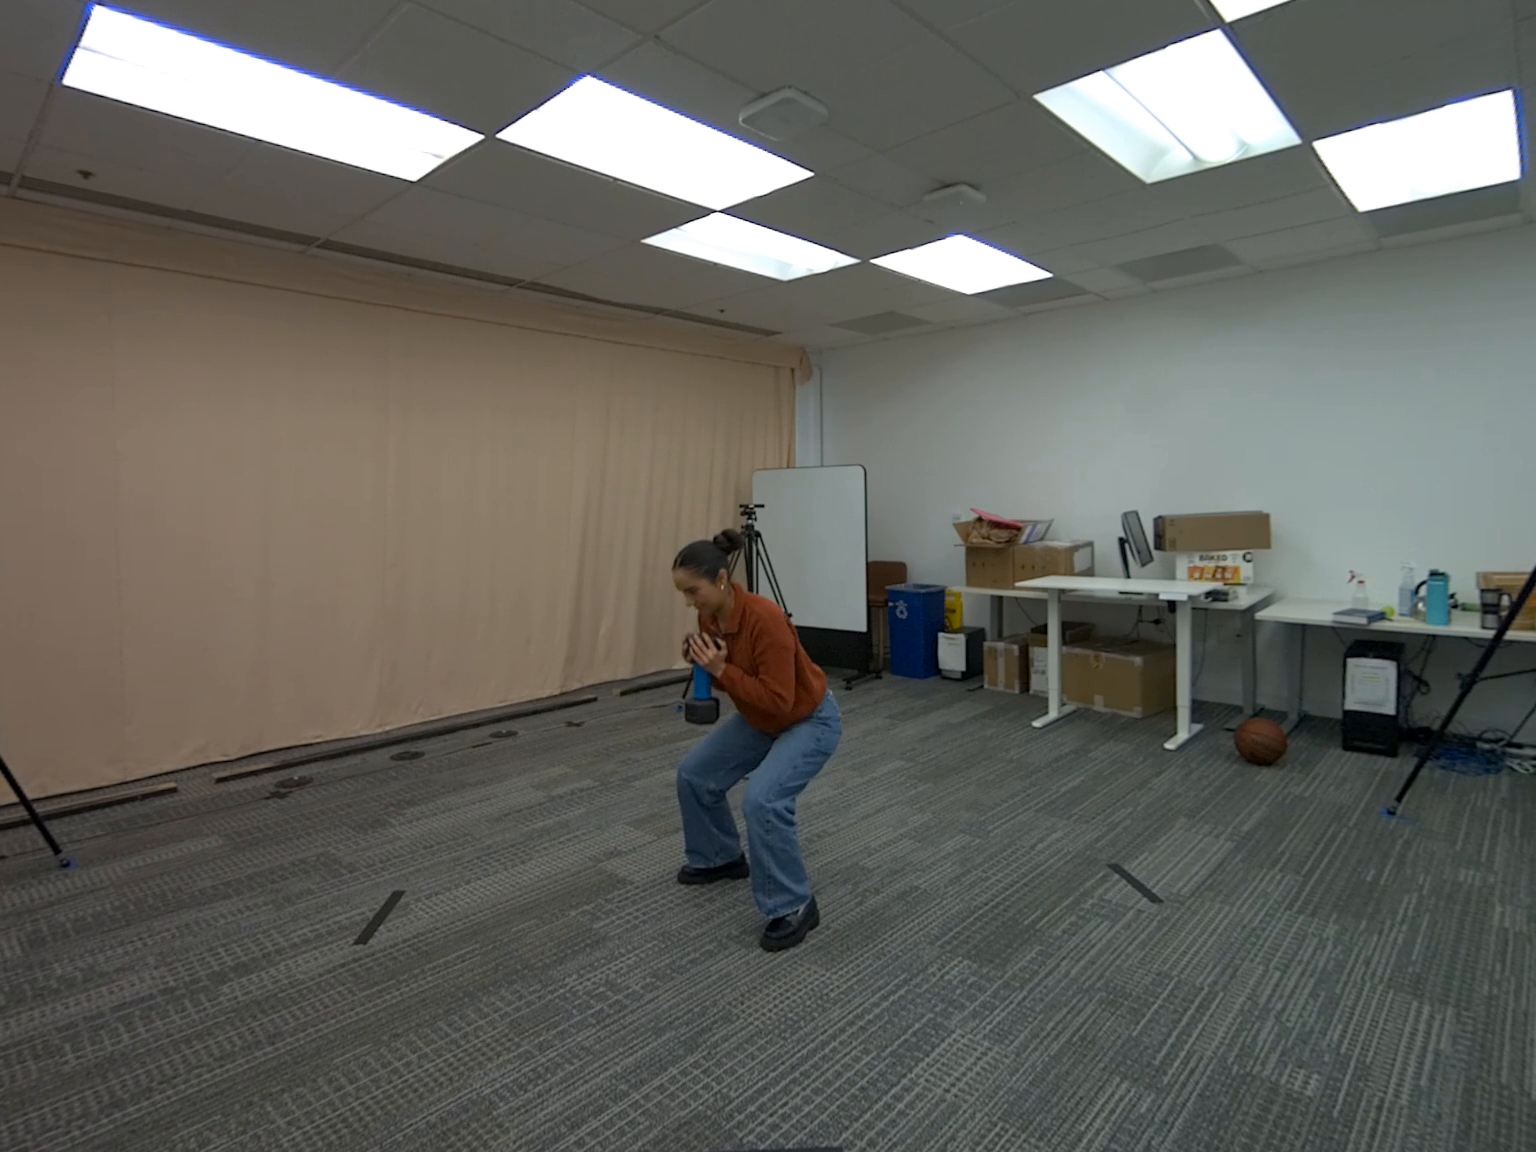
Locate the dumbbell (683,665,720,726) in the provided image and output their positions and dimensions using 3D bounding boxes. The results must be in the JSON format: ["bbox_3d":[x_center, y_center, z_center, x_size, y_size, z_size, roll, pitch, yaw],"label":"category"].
[{"bbox_3d":[-0.214,0.342,2.817,0.127,0.294,0.105,-2,-5,42],"label":"dumbbell"}]
